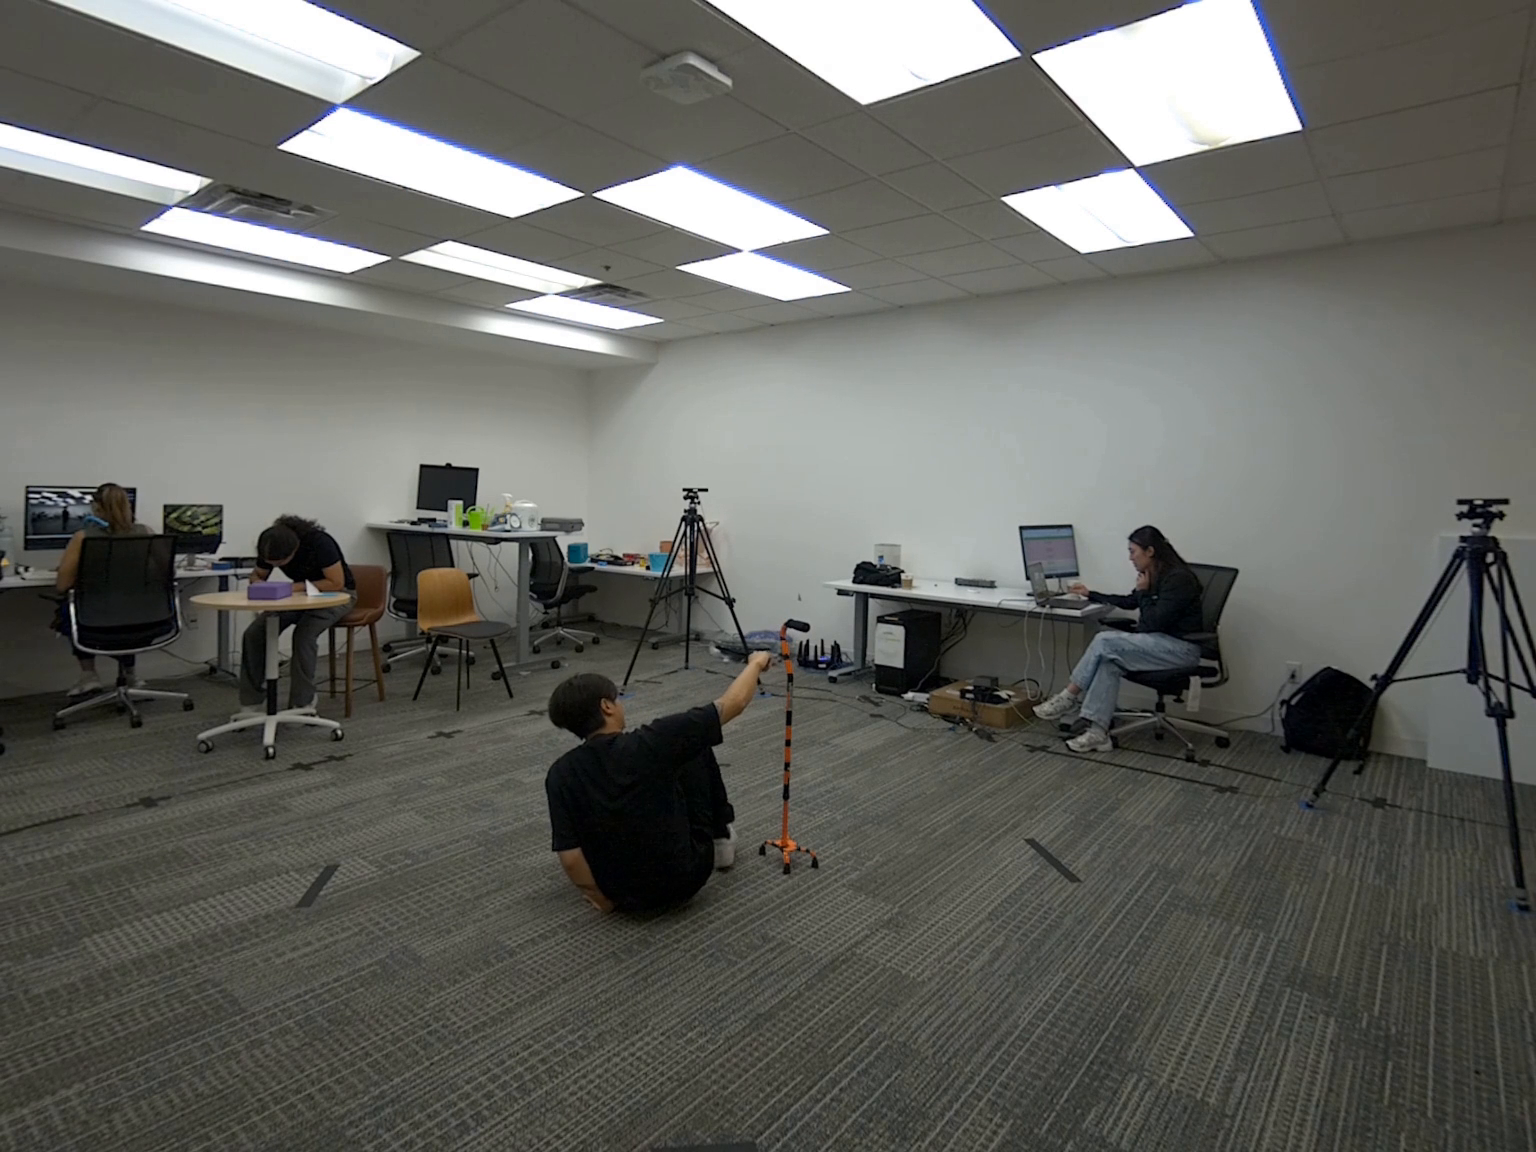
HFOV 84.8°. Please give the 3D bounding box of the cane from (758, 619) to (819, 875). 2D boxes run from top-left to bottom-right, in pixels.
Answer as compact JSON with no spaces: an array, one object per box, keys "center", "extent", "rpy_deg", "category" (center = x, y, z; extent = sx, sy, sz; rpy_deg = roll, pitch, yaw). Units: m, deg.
[{"center":[0.075,0.615,3.179],"extent":[0.147,0.906,0.212],"rpy_deg":[0,3,-30],"category":"cane"}]
